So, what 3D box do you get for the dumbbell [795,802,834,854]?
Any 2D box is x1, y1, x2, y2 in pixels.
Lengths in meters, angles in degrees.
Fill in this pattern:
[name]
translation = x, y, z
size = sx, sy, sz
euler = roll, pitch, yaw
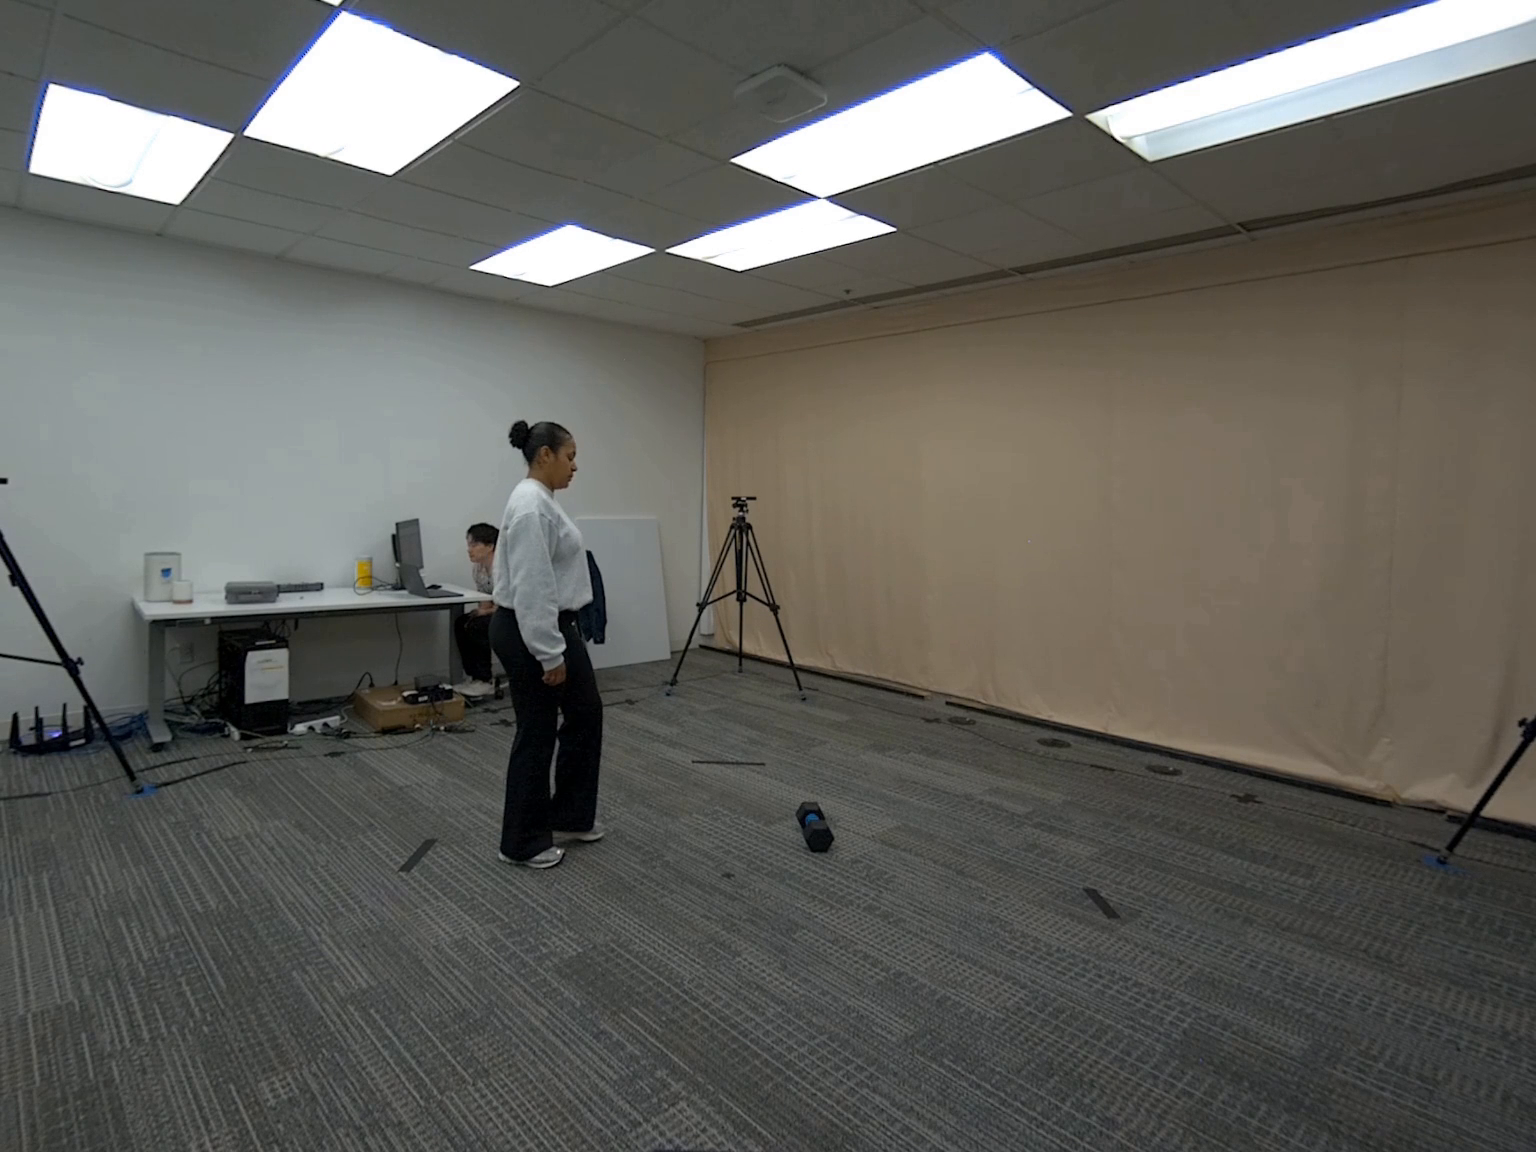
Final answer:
[dumbbell]
translation = 0.180, 1.030, 3.465
size = 0.108, 0.123, 0.295
euler = 31, 2, -7
